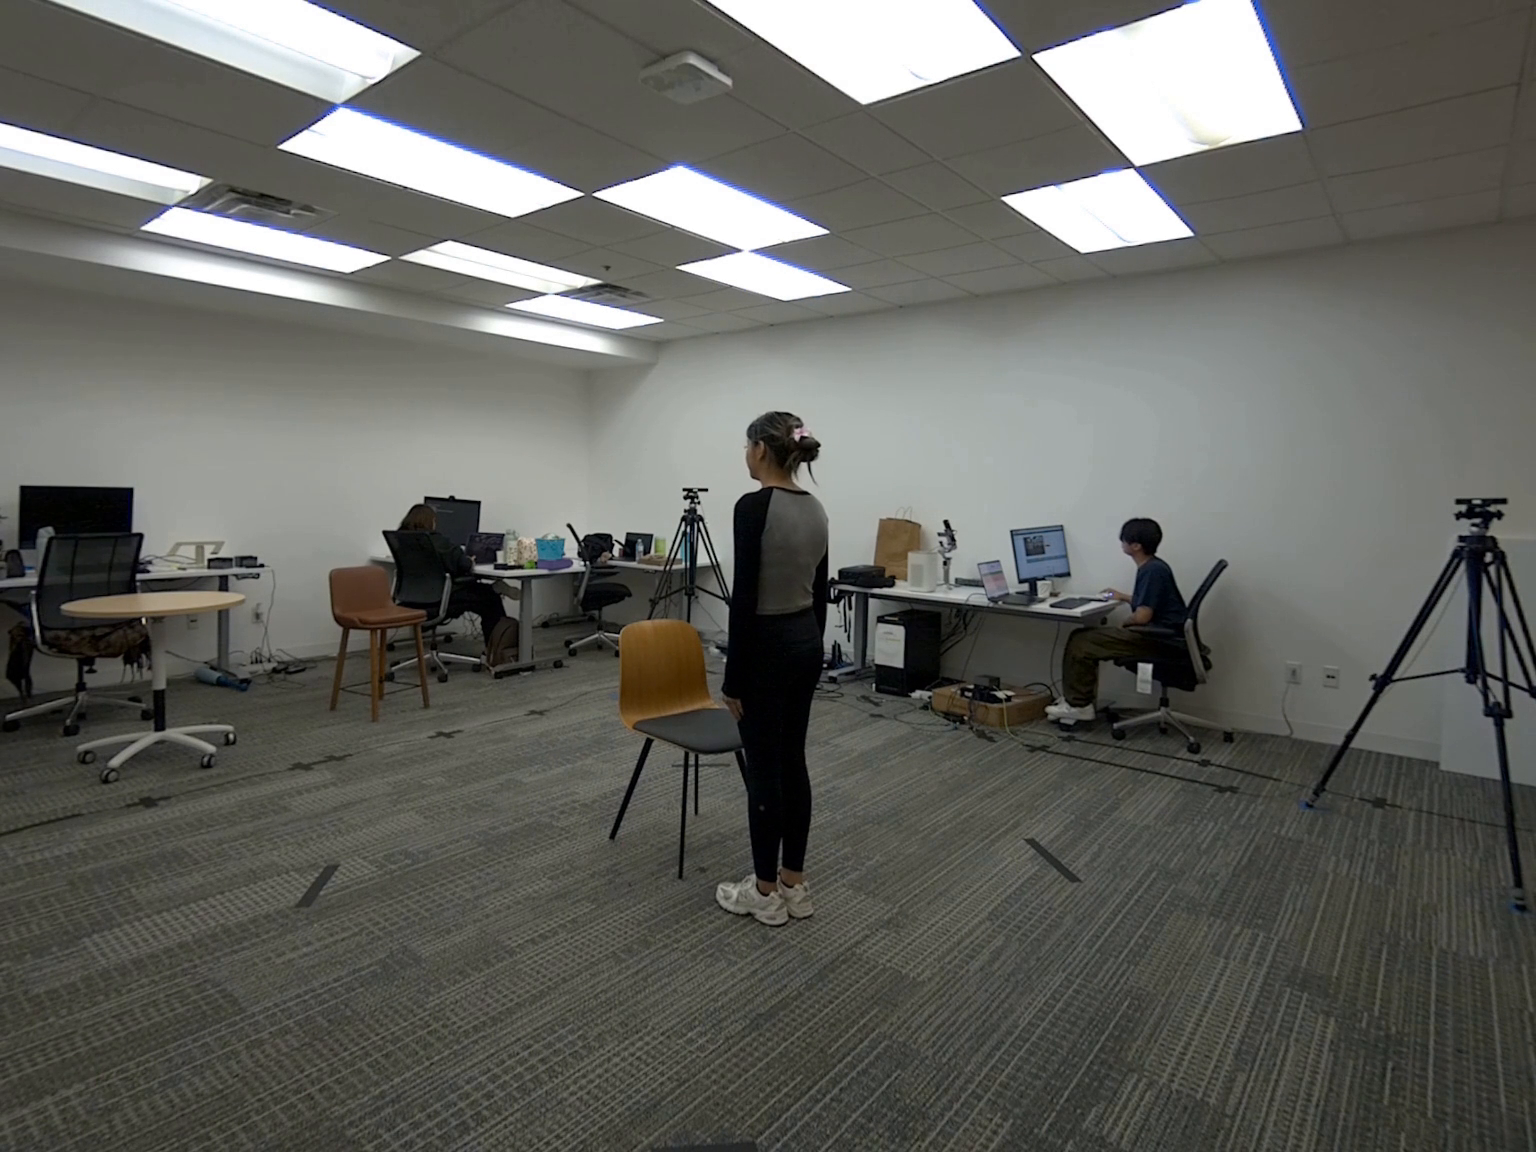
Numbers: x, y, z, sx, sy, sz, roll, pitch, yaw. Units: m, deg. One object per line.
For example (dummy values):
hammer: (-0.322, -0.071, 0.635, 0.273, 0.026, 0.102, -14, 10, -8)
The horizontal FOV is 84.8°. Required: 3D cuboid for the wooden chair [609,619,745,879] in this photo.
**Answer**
wooden chair: (-0.303, 0.622, 3.309, 0.463, 0.878, 0.539, -1, 0, -43)
